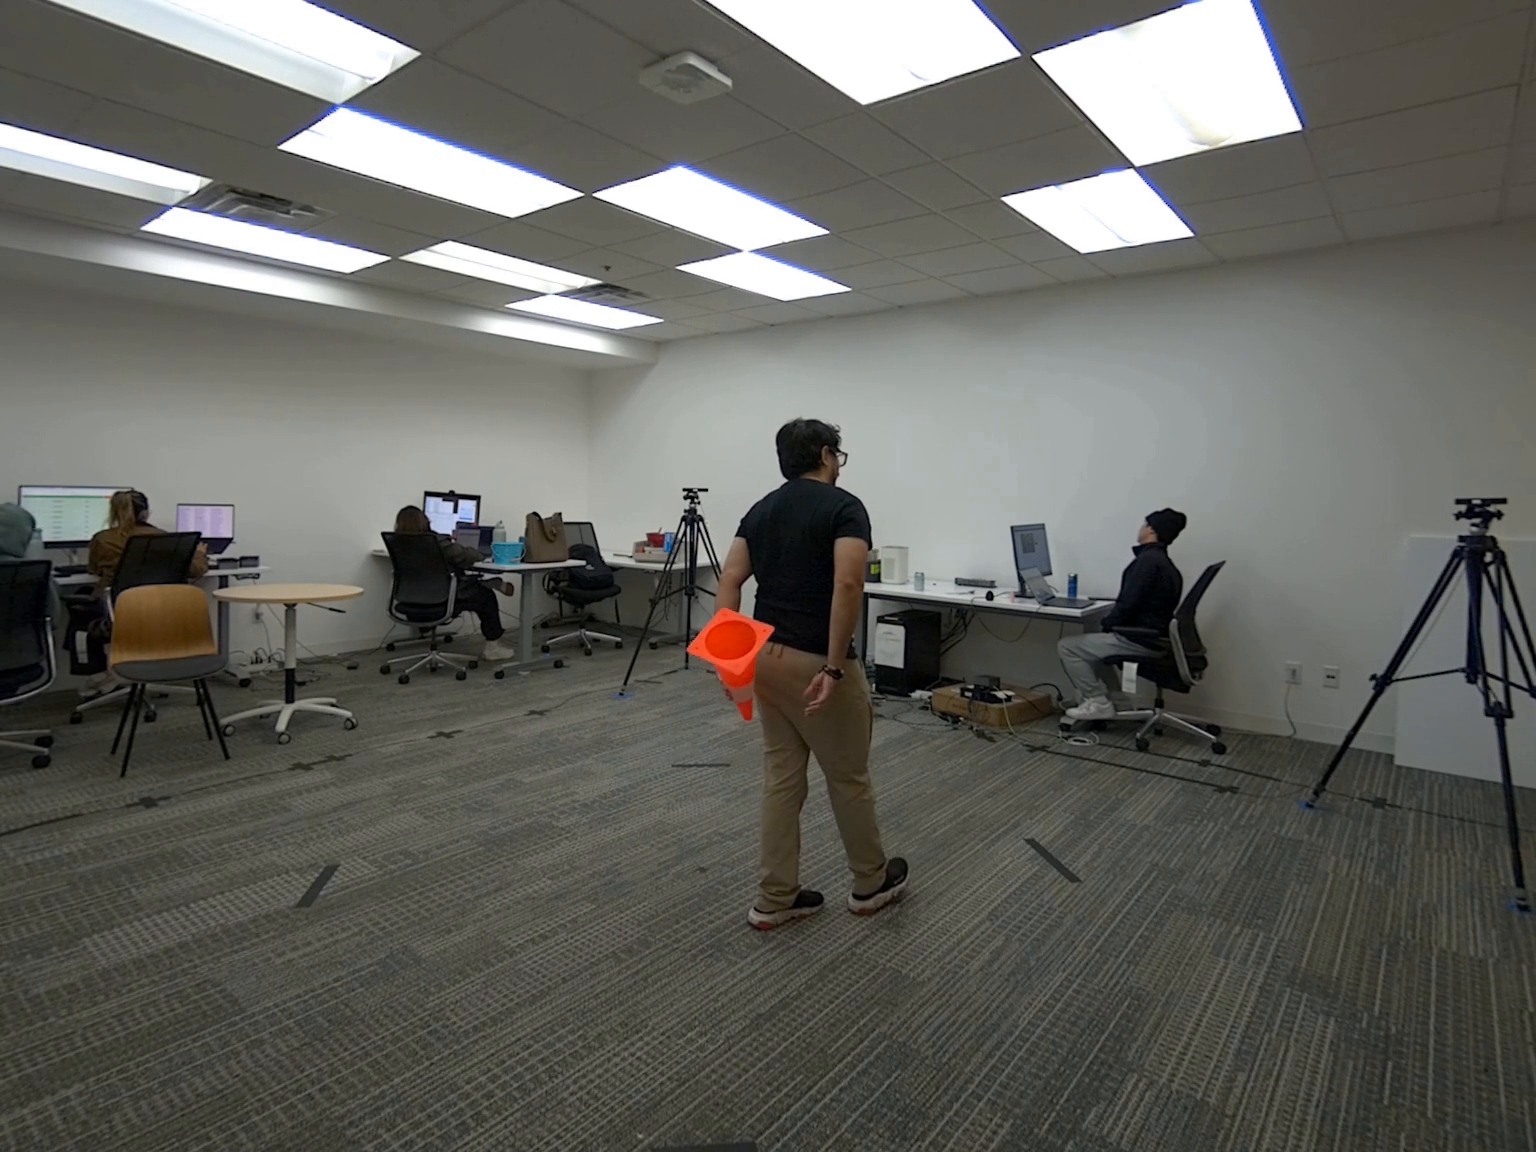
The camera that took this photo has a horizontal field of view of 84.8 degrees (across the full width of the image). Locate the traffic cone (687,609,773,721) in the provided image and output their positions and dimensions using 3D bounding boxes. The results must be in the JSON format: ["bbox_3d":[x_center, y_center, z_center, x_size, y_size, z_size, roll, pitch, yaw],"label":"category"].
[{"bbox_3d":[-0.097,0.332,2.669,0.211,0.371,0.204,22,51,33],"label":"traffic cone"}]
